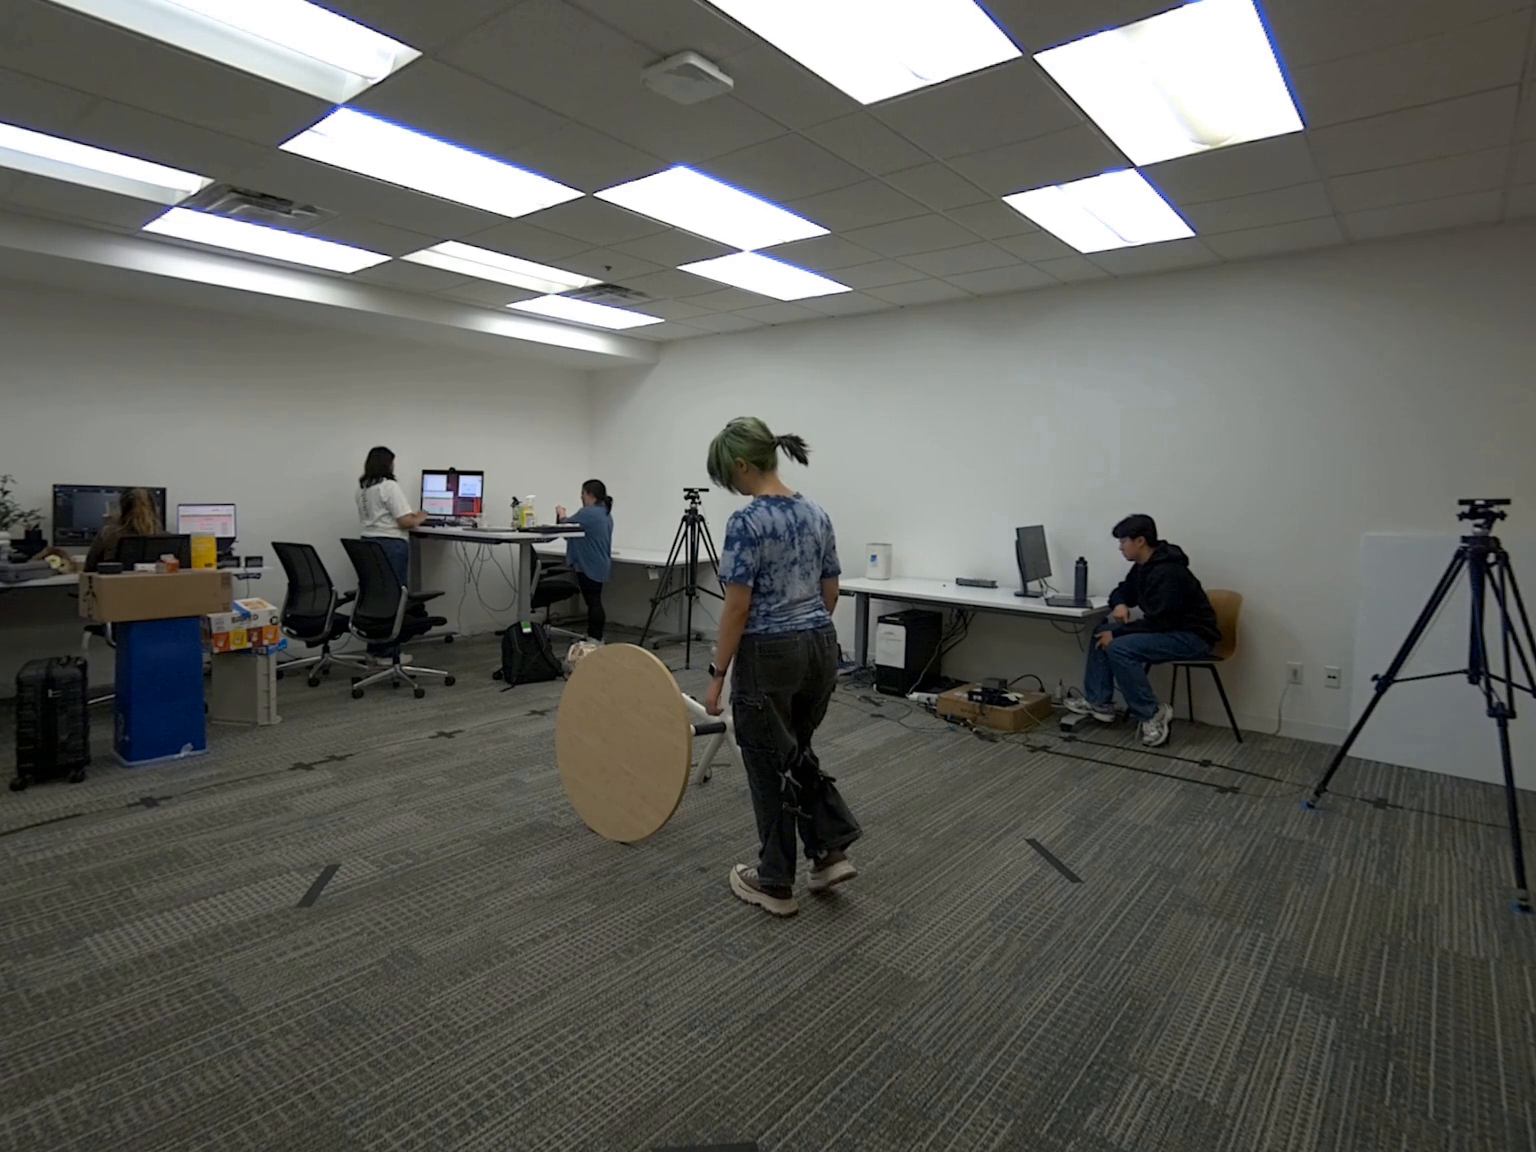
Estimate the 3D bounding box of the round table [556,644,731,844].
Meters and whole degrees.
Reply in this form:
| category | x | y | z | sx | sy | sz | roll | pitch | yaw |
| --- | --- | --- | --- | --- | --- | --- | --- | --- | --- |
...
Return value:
| category | x | y | z | sx | sy | sz | roll | pitch | yaw |
| --- | --- | --- | --- | --- | --- | --- | --- | --- | --- |
| round table | -0.381 | 0.670 | 3.682 | 0.789 | 0.765 | 0.767 | 4 | -1 | 39 |
